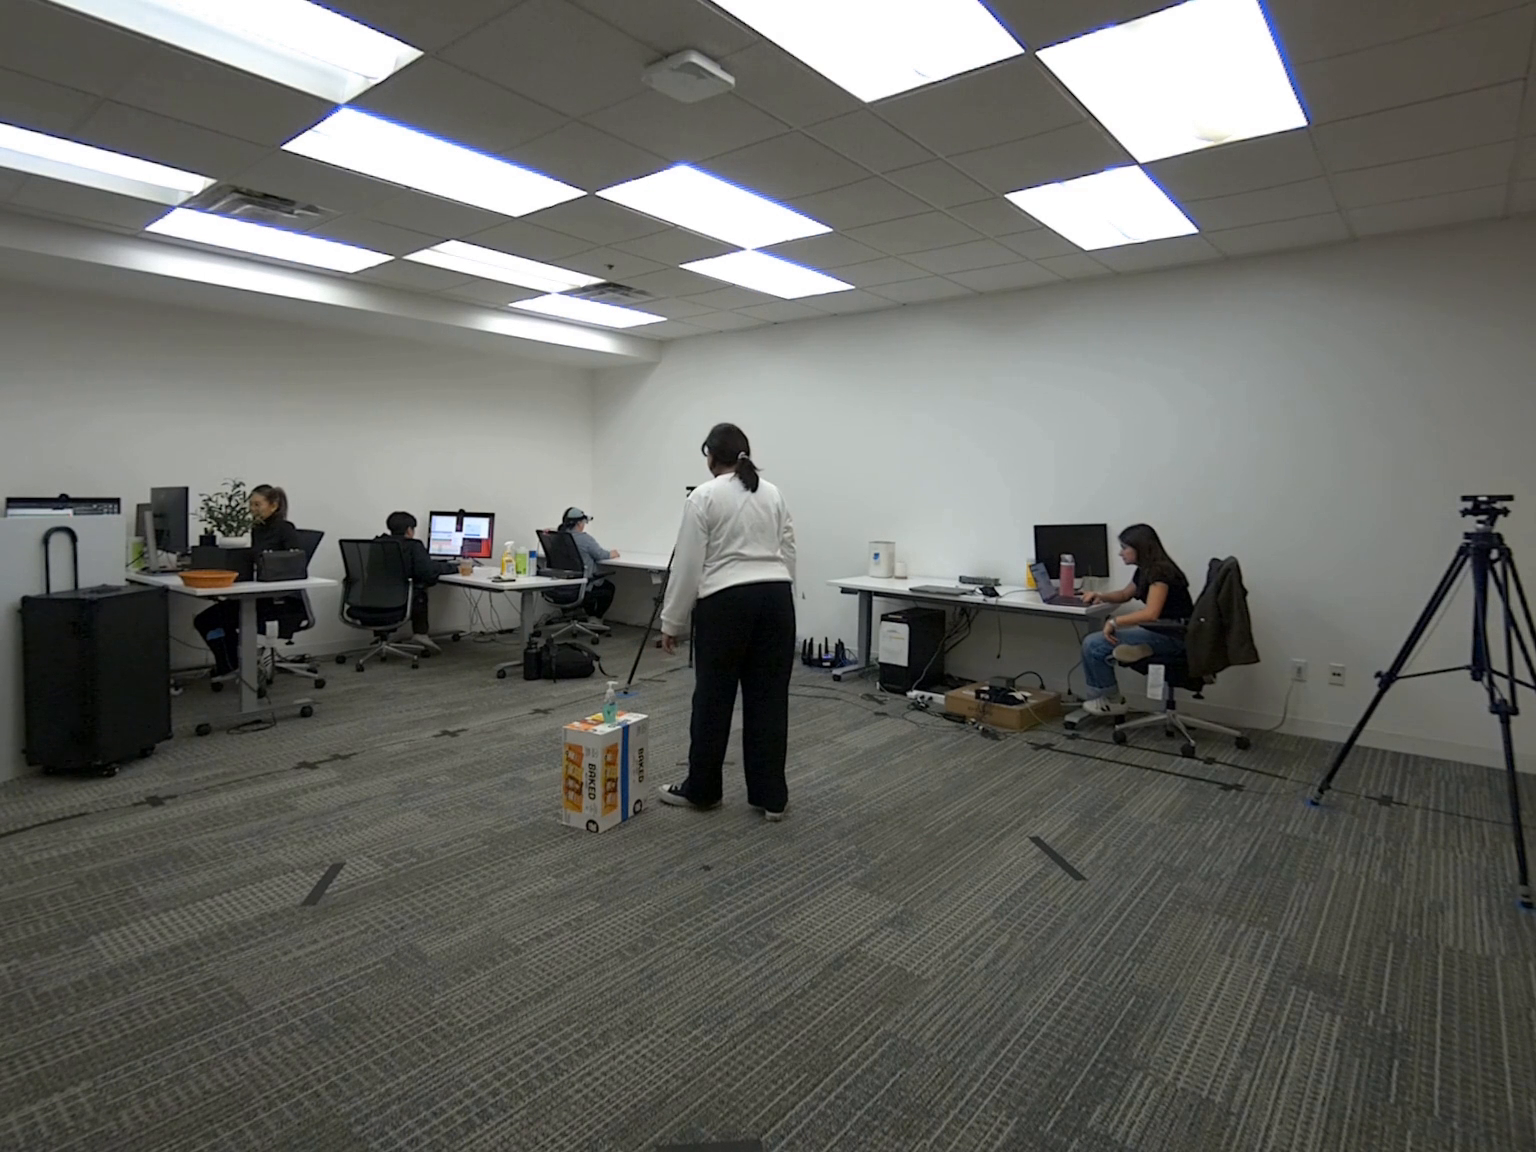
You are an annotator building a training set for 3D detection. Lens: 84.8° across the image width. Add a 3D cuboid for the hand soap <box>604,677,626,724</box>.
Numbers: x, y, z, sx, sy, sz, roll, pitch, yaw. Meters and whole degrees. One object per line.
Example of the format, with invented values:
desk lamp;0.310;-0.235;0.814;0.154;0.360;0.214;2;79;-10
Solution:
hand soap;-0.652;0.525;3.565;0.044;0.167;0.083;6;6;24
